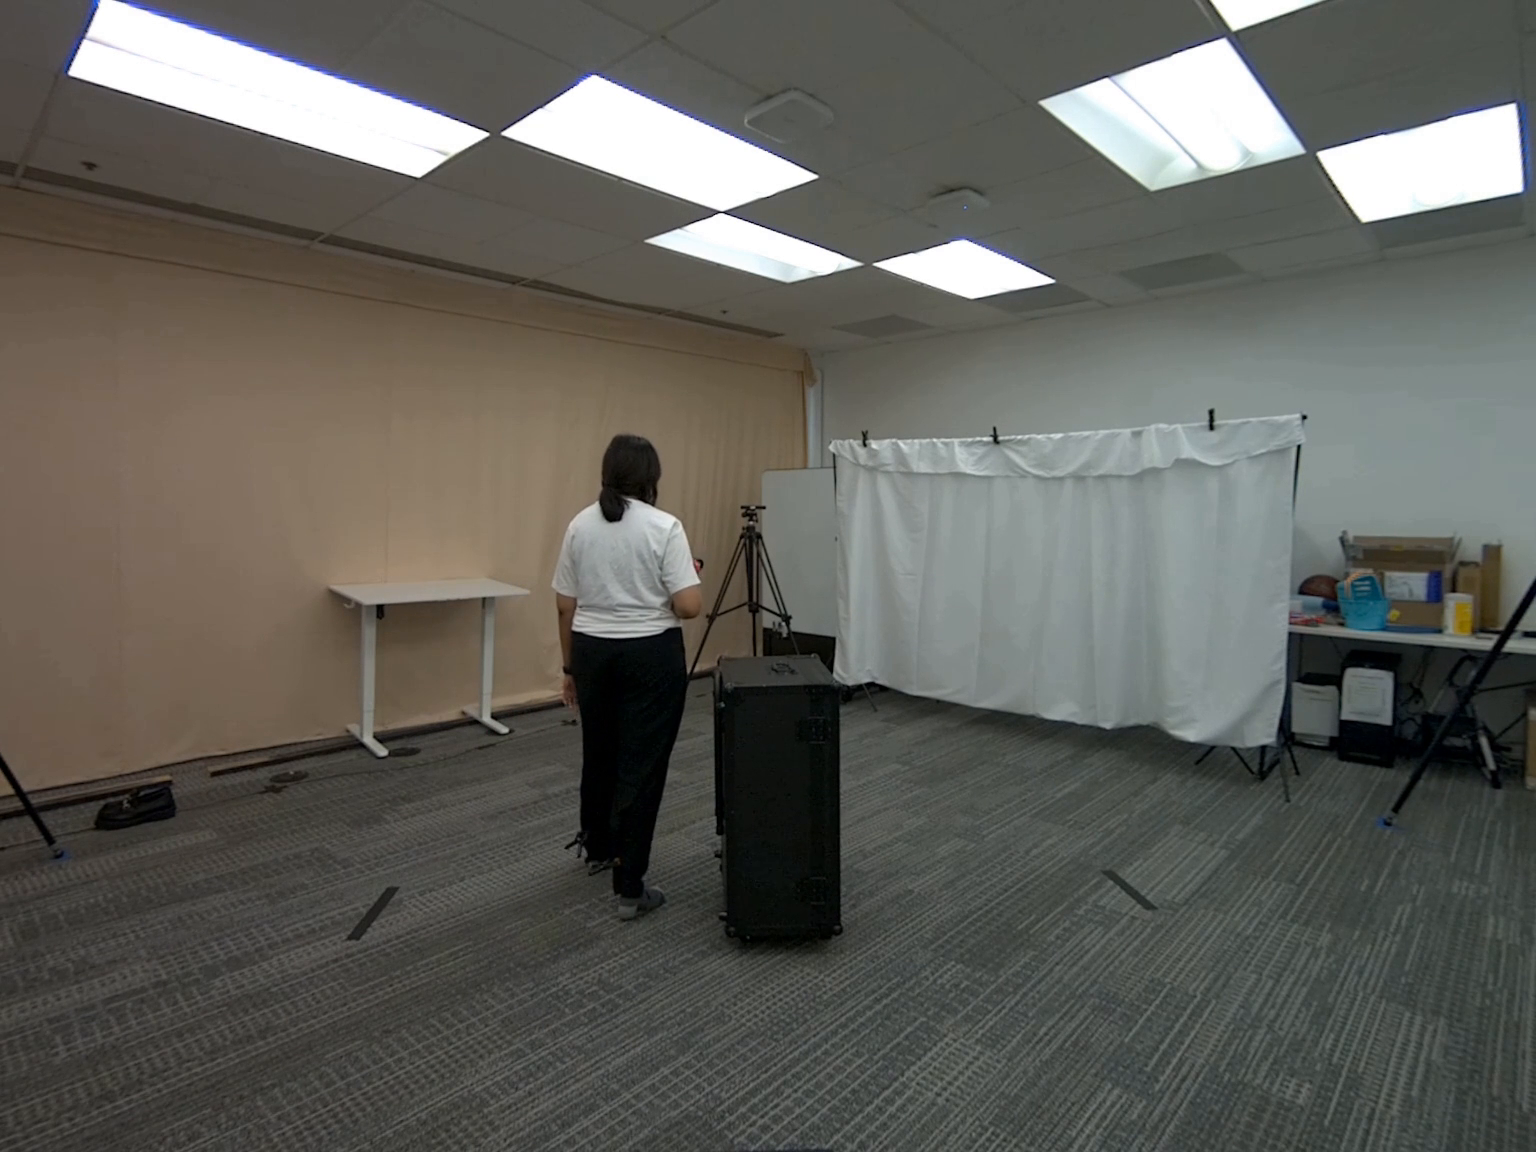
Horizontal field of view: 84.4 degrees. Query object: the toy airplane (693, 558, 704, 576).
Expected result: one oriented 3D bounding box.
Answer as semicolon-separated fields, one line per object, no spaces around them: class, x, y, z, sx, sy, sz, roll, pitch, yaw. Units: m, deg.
toy airplane;-0.356;-0.014;3.203;0.258;0.261;0.151;-11;-36;40
